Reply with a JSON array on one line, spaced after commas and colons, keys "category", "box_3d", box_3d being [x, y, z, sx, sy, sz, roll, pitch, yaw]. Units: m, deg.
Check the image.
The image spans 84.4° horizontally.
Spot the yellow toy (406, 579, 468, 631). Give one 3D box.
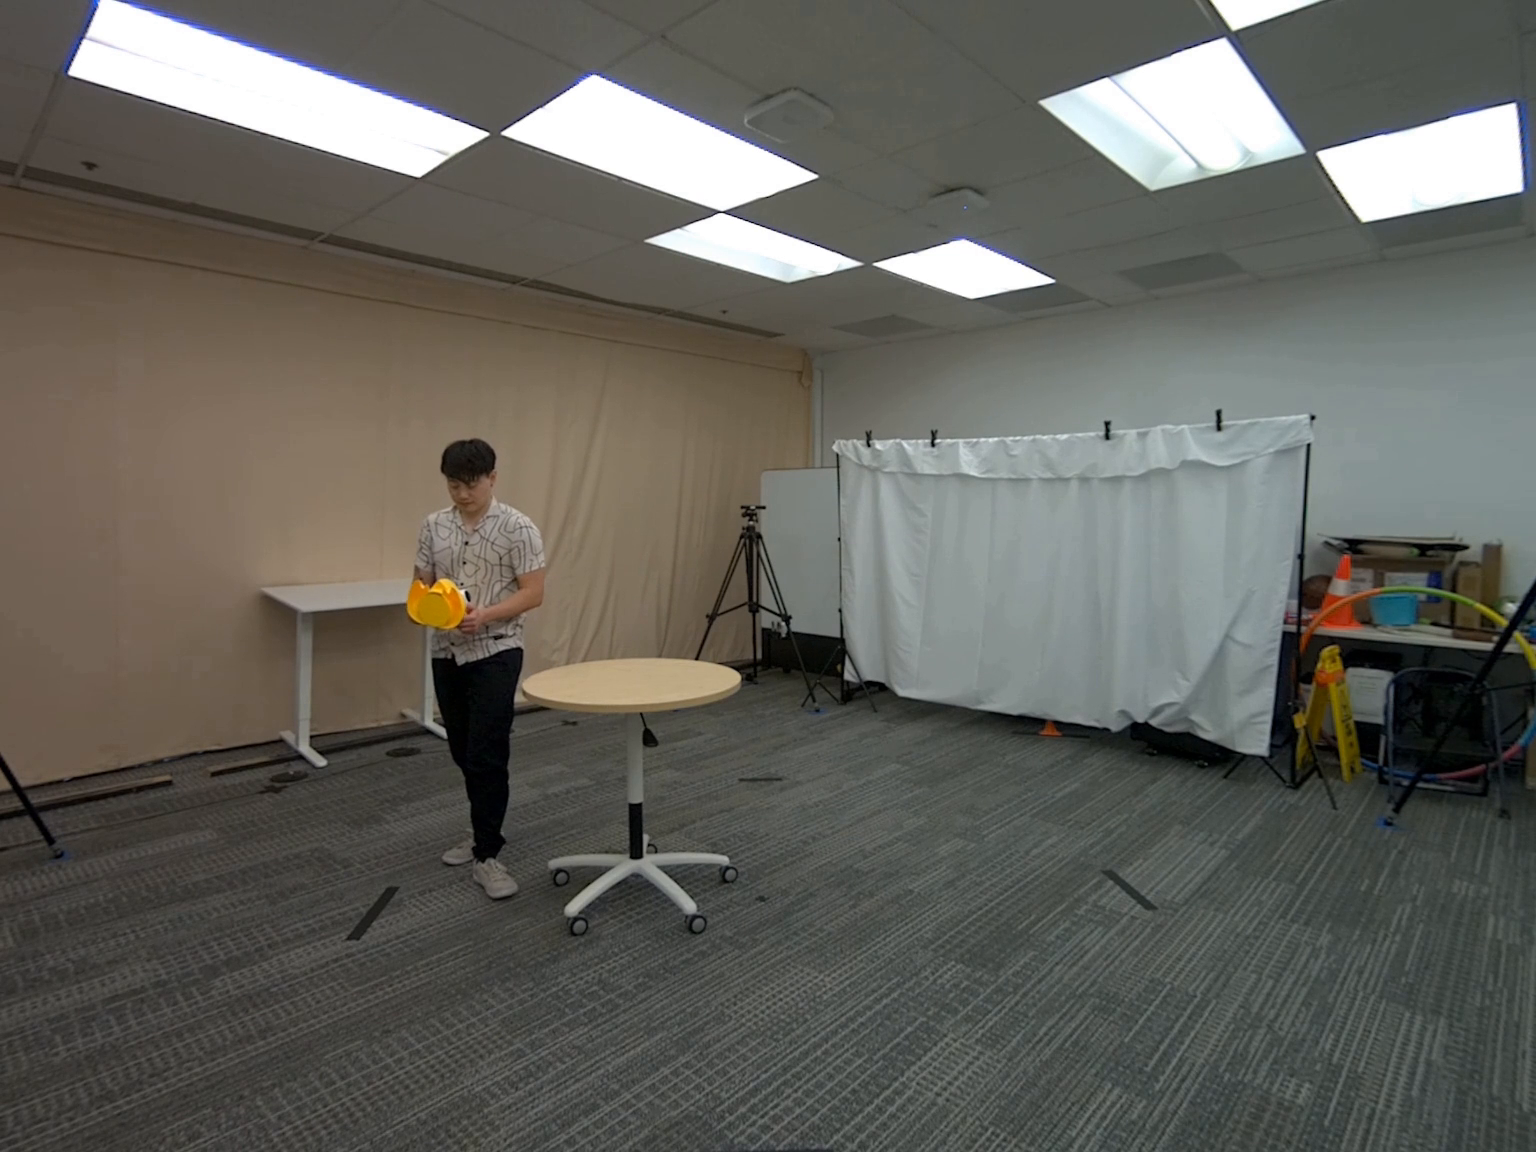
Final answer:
[{"category": "yellow toy", "box_3d": [-1.140, 0.076, 3.035, 0.206, 0.191, 0.231, 10, 18, 3]}]
